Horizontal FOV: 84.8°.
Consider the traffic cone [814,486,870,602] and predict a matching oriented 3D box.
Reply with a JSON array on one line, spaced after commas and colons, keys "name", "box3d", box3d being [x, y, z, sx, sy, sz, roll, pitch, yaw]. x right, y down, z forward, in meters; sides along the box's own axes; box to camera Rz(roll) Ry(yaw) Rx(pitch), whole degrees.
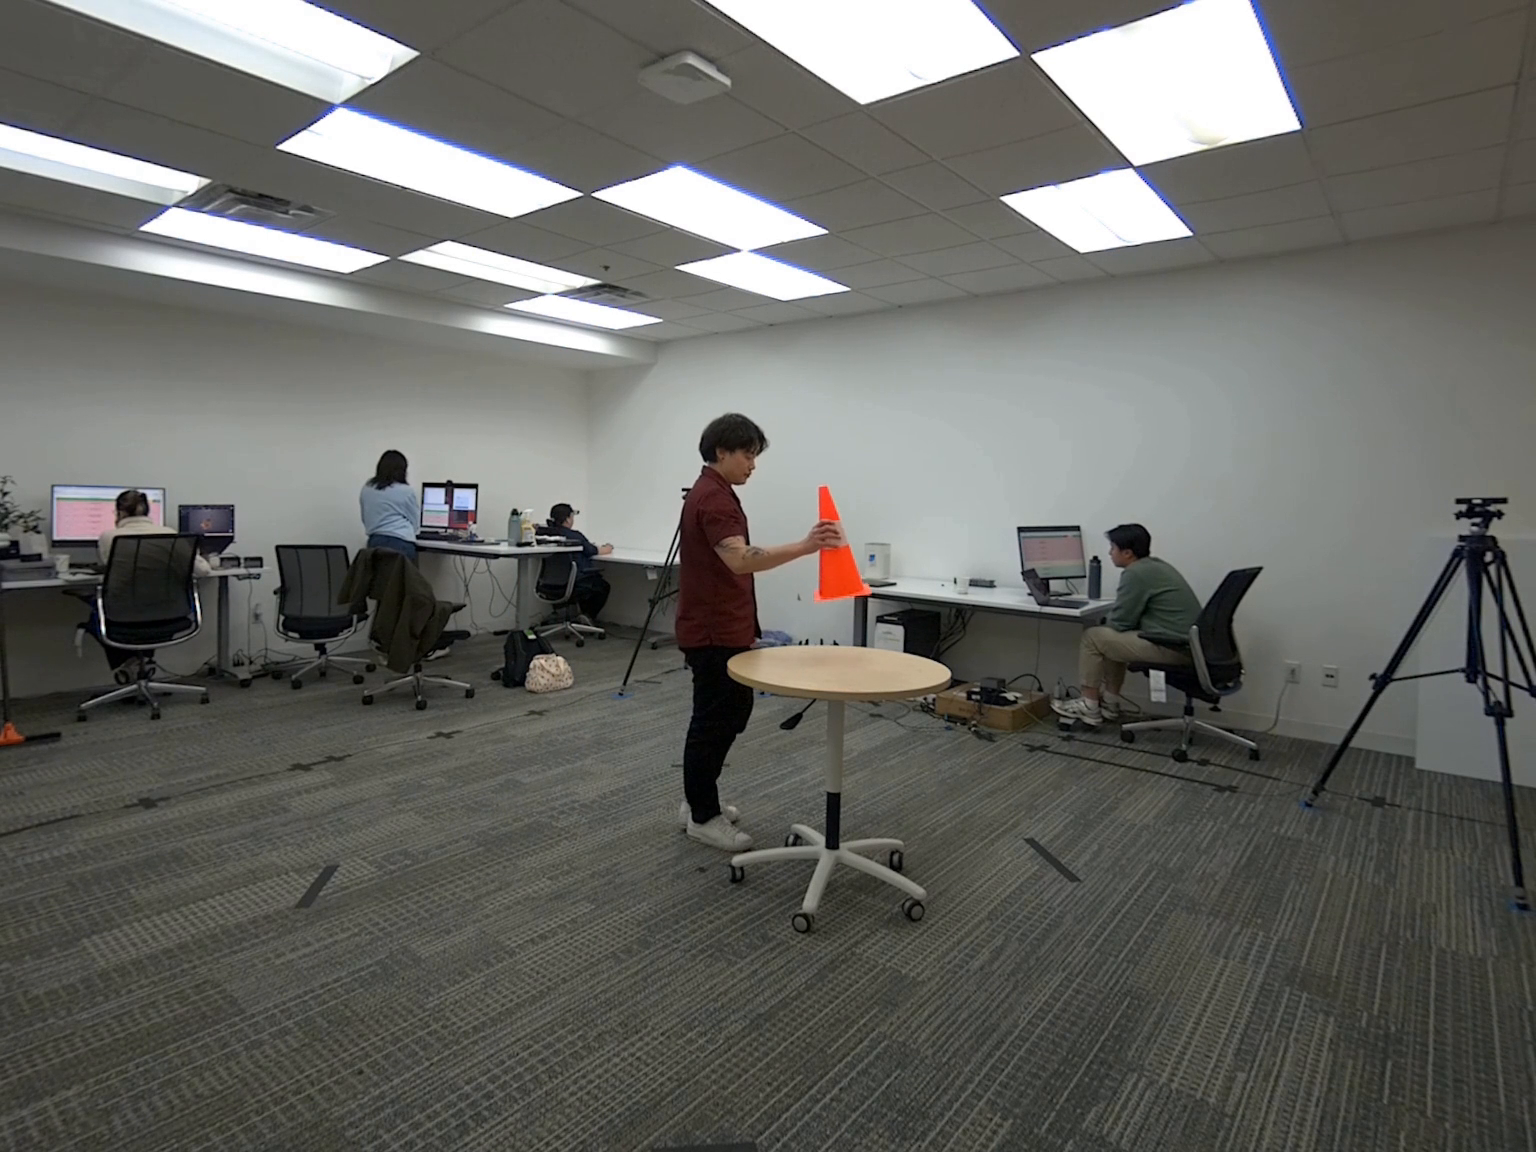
[{"name": "traffic cone", "box3d": [0.227, -0.117, 2.964, 0.209, 0.380, 0.201, -5, 8, 21]}]
